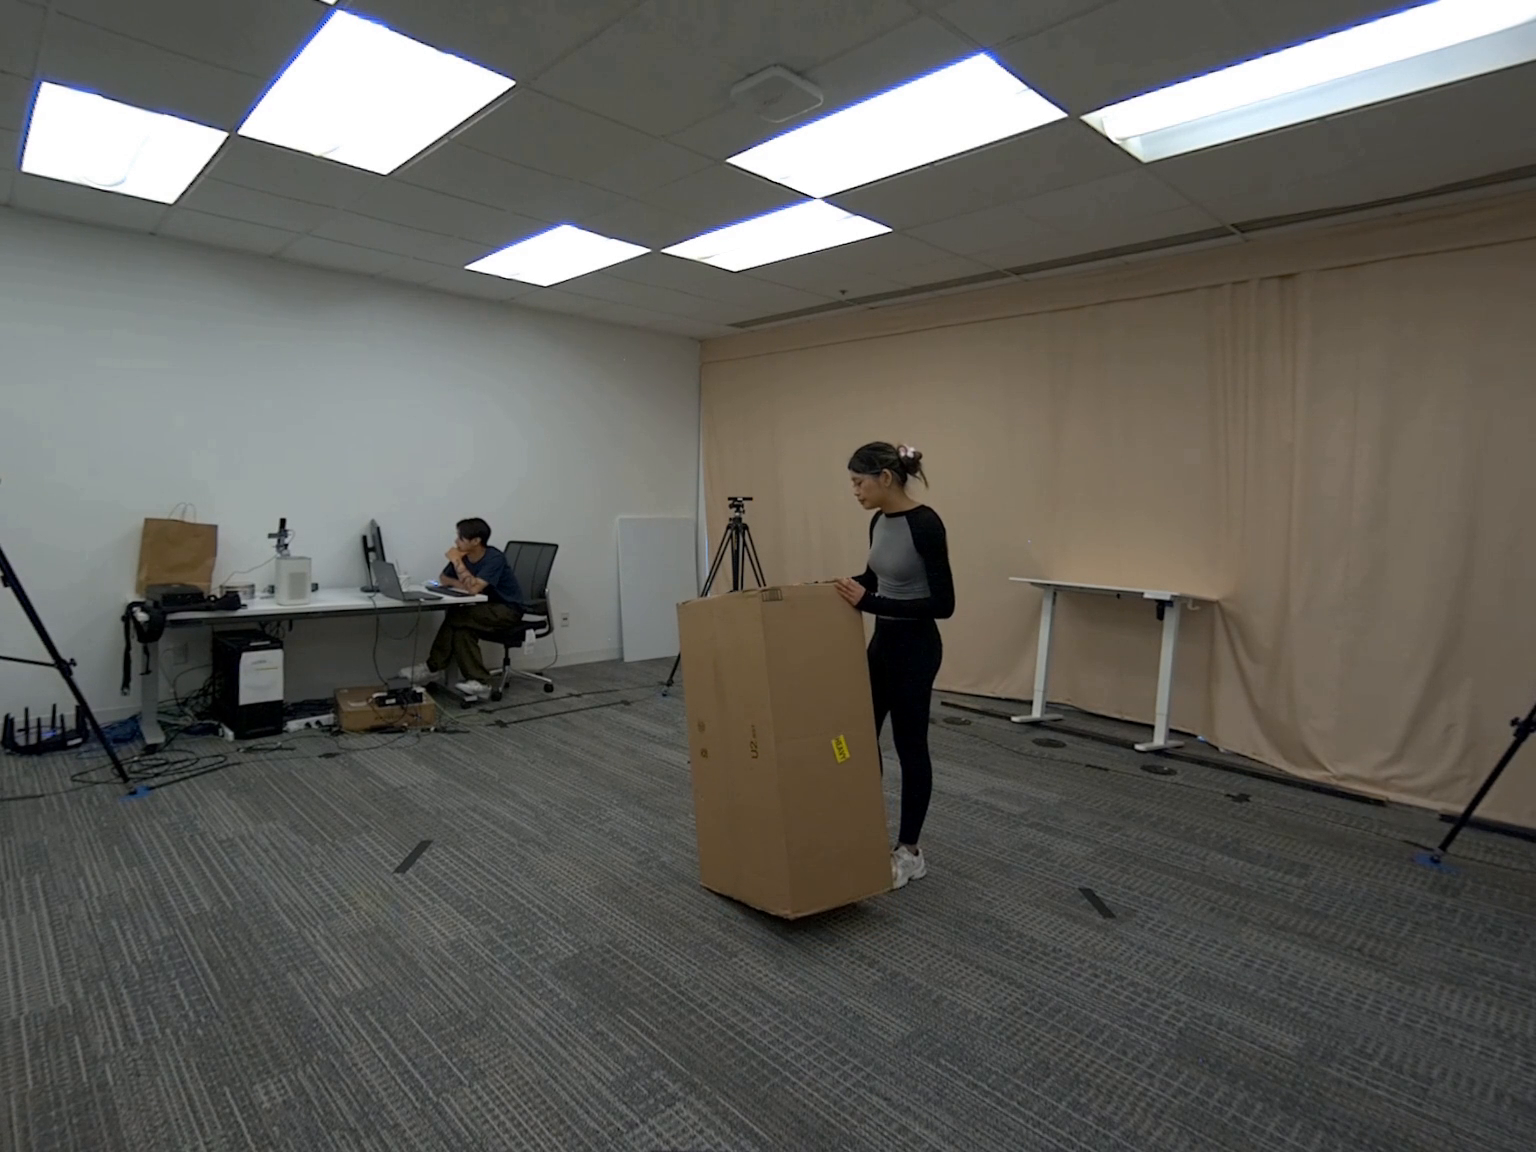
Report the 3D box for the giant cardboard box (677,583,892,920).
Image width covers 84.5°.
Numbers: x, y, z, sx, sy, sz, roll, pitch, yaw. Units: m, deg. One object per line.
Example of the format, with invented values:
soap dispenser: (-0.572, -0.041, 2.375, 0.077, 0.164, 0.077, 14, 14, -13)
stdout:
giant cardboard box: (0.033, 0.572, 2.965, 0.437, 1.033, 0.593, -2, -8, -34)
